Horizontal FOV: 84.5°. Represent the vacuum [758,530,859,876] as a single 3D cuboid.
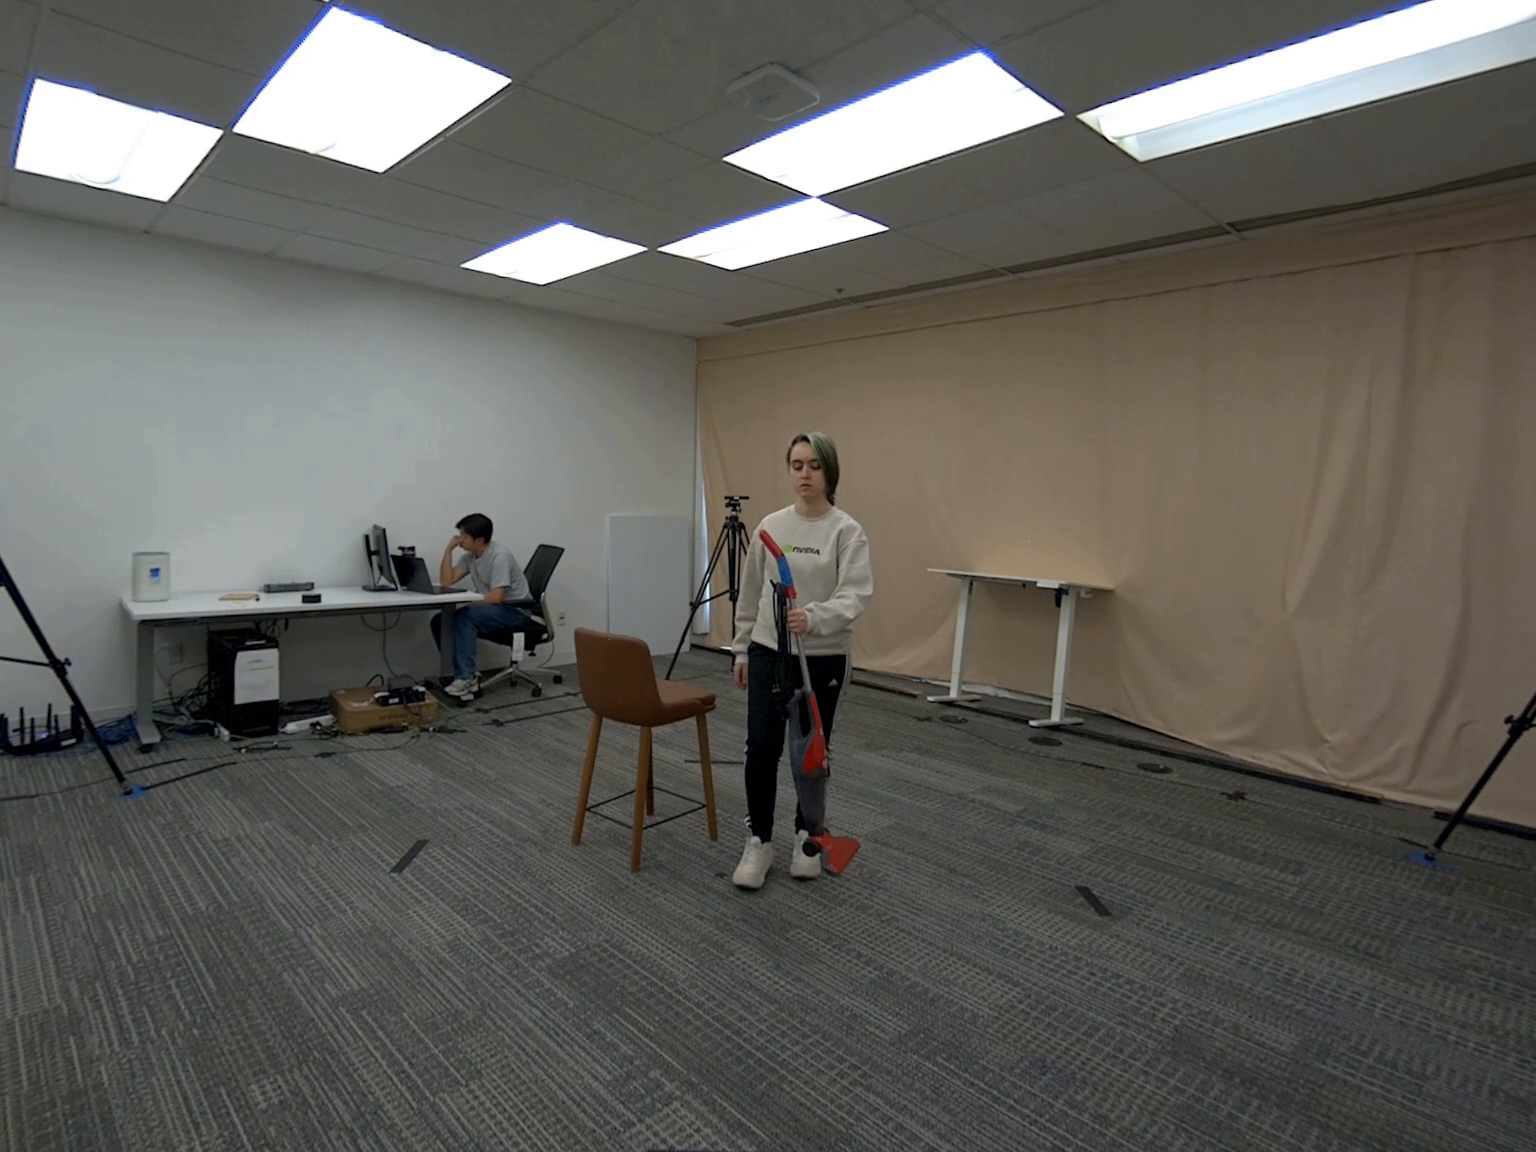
[{"bbox_3d":[0.078,0.378,2.713,0.146,1.051,0.248,-12,-3,29],"label":"vacuum"}]
